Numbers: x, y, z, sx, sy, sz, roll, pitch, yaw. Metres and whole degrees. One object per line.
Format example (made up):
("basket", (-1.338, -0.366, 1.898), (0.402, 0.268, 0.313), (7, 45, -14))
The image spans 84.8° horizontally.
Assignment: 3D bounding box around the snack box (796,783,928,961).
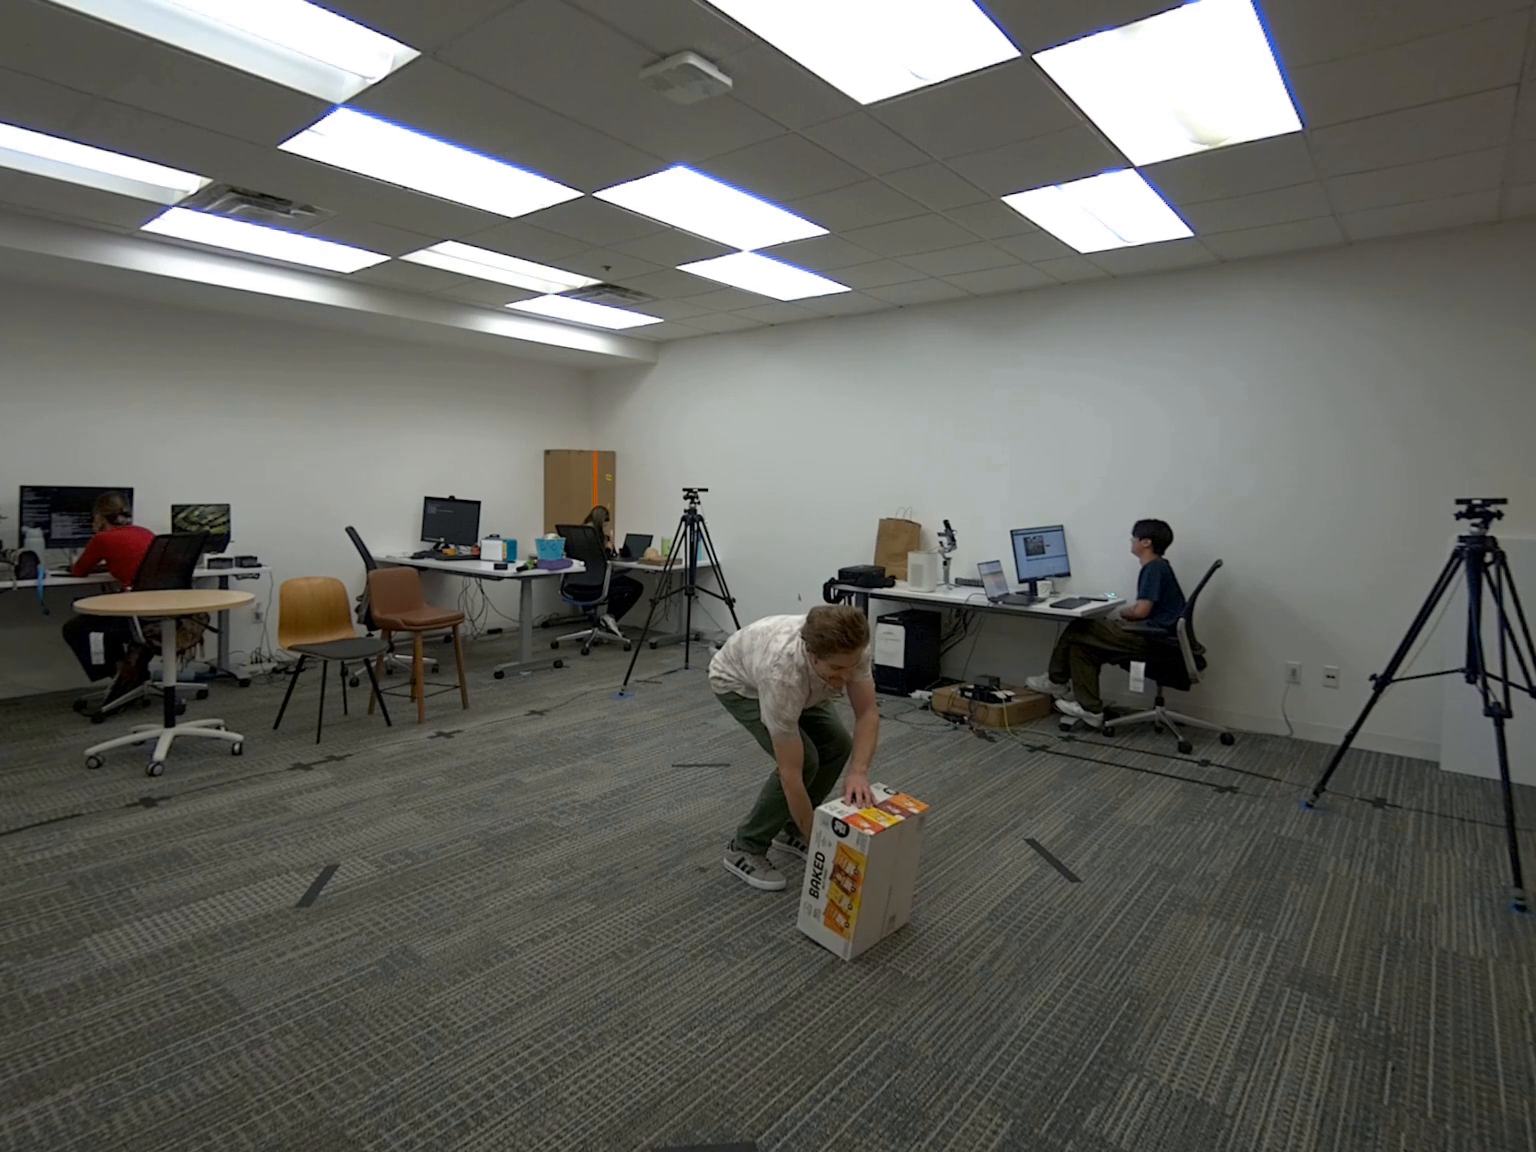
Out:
("snack box", (0.300, 0.910, 2.672), (0.213, 0.402, 0.330), (15, 12, 40))
